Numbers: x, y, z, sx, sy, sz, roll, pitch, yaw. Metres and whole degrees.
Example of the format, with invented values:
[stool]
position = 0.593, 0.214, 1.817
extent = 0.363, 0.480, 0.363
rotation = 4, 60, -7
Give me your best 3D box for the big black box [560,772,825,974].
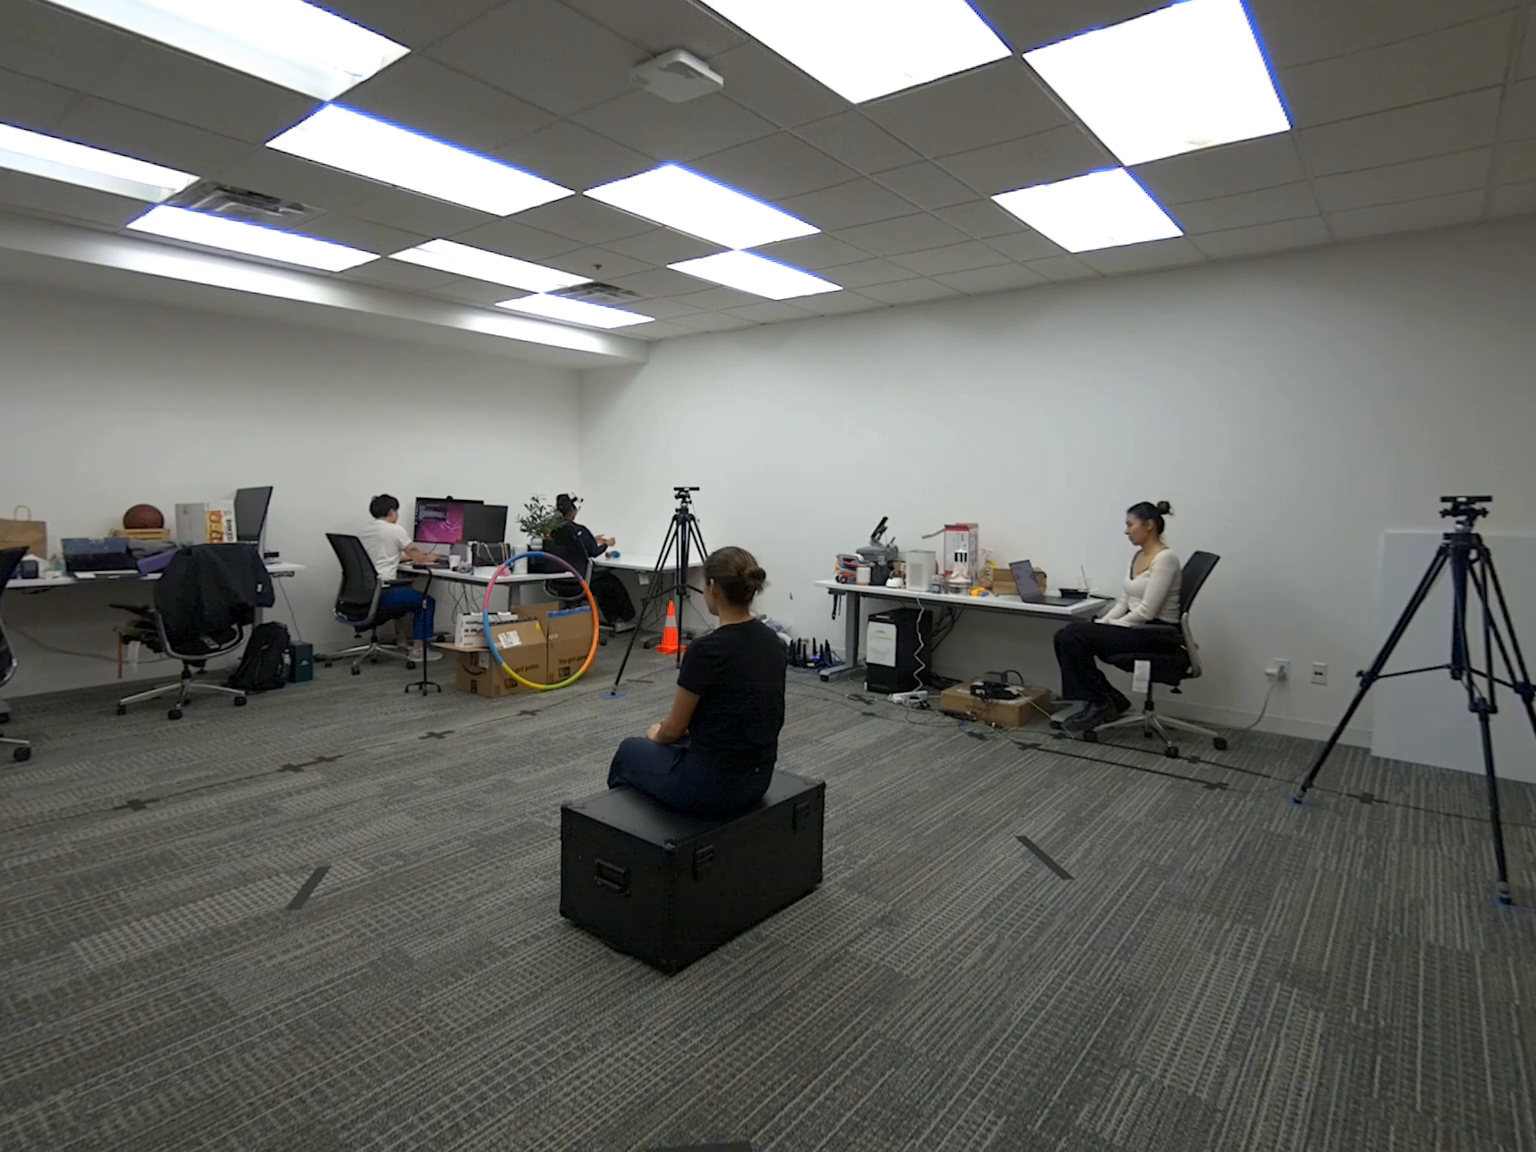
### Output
[big black box]
position = -0.199, 0.902, 2.862
extent = 0.539, 0.394, 0.837
rotation = 5, 7, 39
